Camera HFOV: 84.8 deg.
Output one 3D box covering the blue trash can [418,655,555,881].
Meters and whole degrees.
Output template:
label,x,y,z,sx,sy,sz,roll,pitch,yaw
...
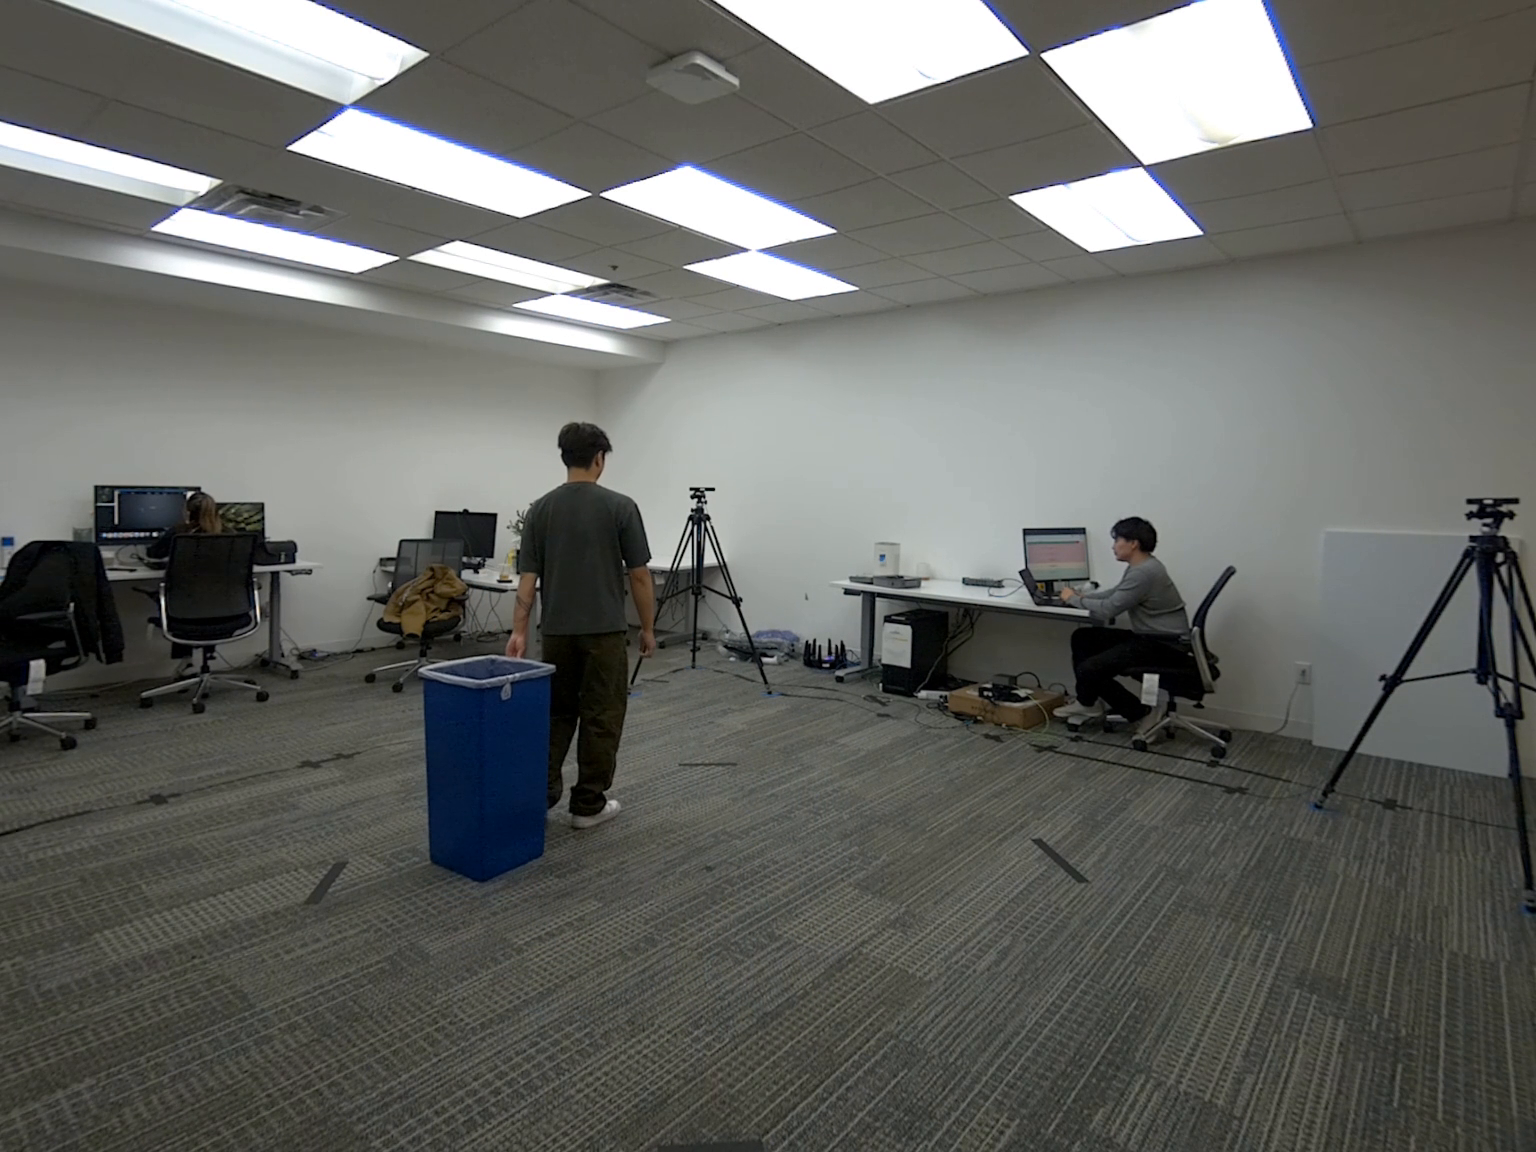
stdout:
label,x,y,z,sx,sy,sz,roll,pitch,yaw
blue trash can,-1.059,0.688,3.152,0.386,0.712,0.367,4,4,33
